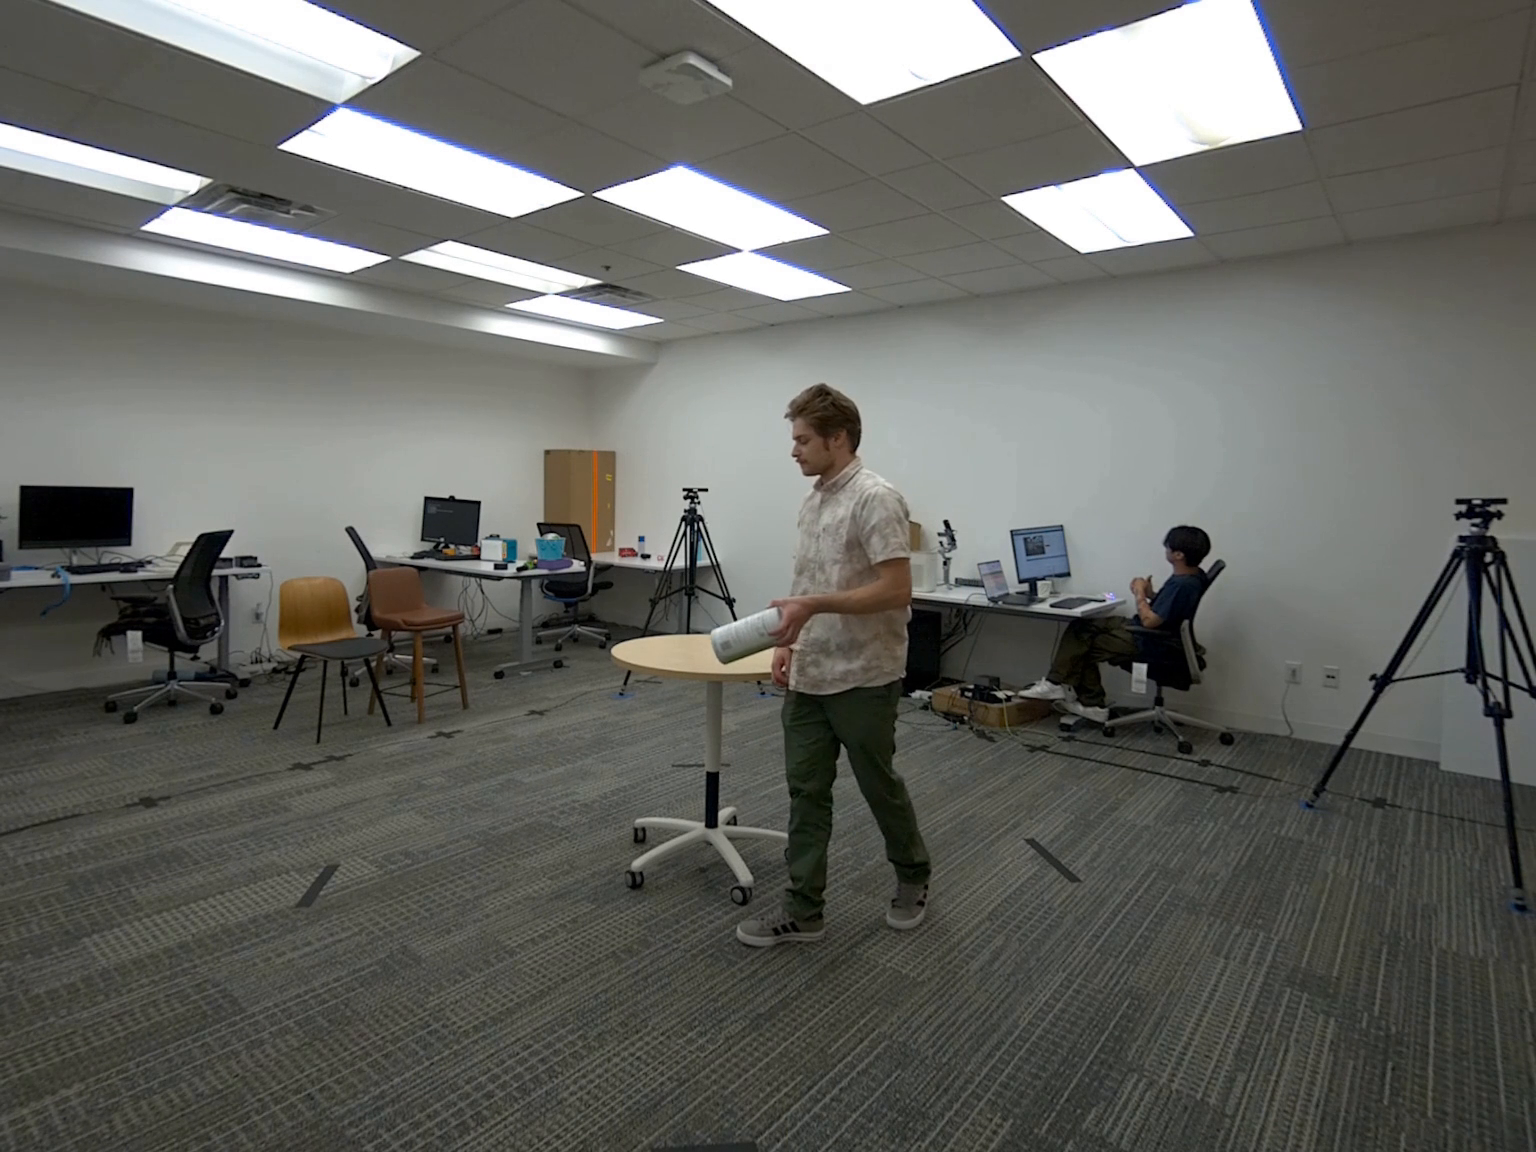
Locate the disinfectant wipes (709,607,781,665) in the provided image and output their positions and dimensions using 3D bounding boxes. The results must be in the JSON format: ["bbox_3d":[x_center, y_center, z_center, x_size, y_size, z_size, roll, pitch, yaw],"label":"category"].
[{"bbox_3d":[-0.060,0.170,2.471,0.219,0.118,0.116,-23,-2,14],"label":"disinfectant wipes"}]
